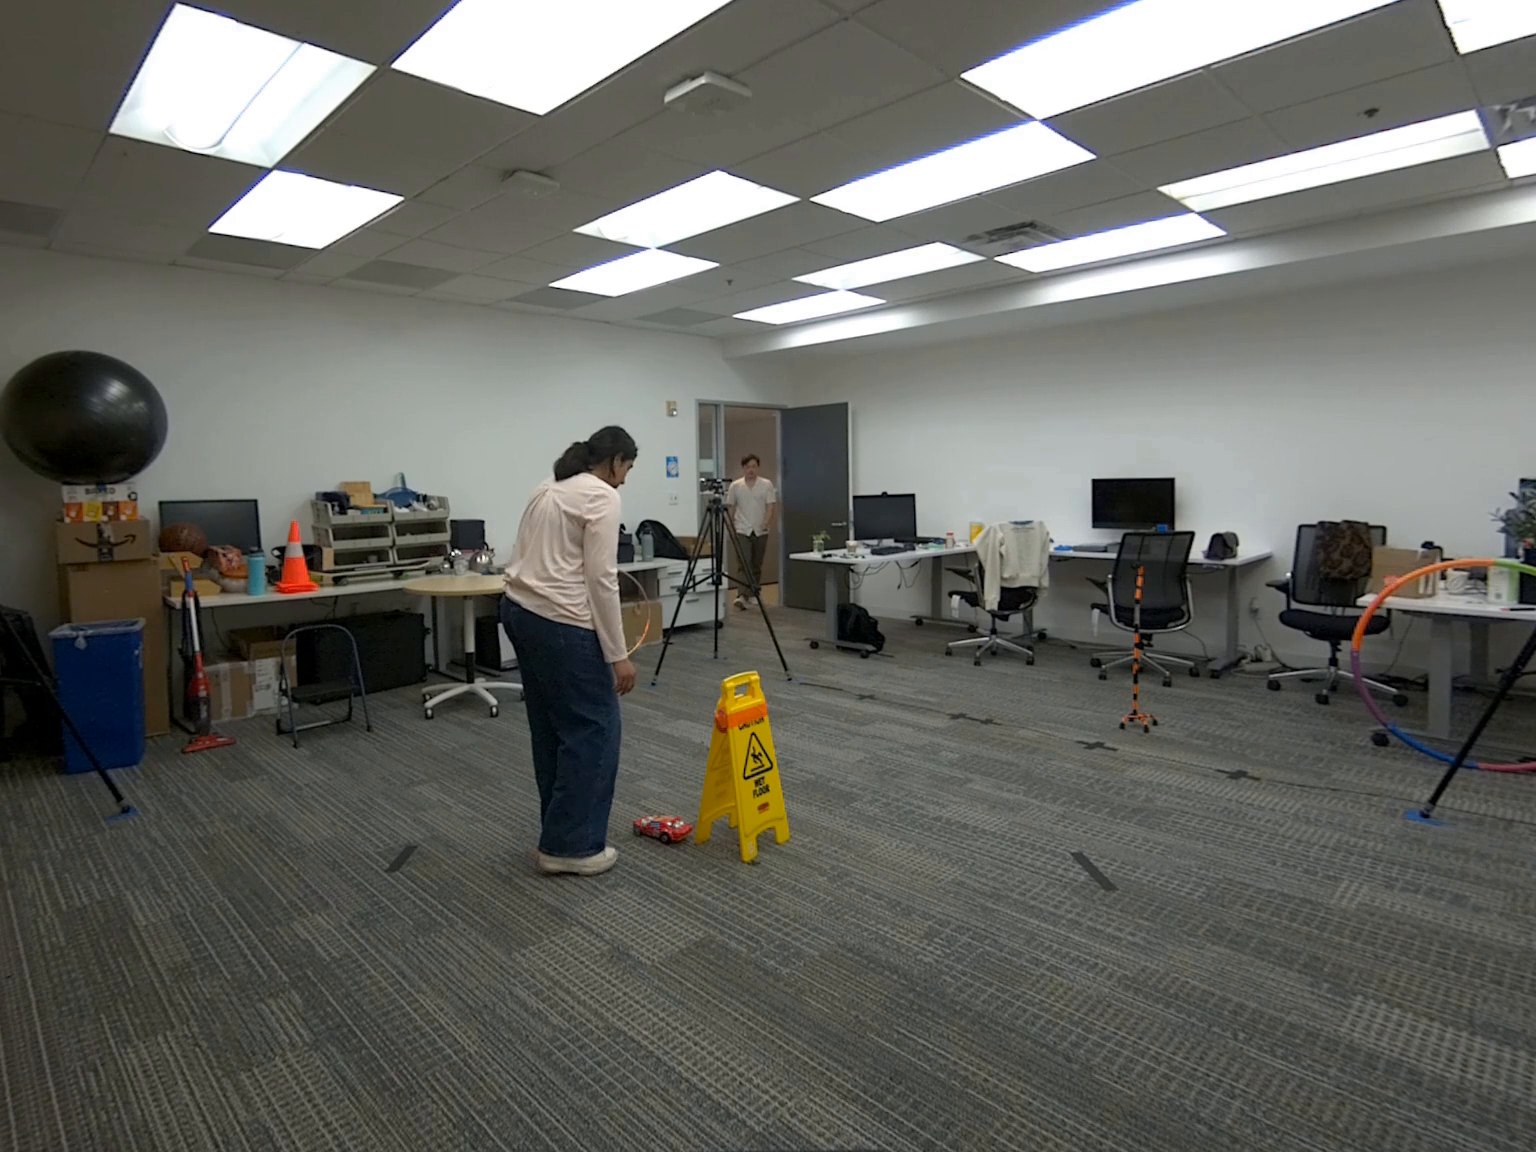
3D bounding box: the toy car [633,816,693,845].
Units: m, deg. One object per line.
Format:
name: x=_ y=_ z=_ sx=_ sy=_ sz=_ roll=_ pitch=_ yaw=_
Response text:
toy car: x=-0.406 y=0.988 z=3.344 sx=0.260 sy=0.083 sz=0.127 roll=-10 pitch=0 yaw=36
